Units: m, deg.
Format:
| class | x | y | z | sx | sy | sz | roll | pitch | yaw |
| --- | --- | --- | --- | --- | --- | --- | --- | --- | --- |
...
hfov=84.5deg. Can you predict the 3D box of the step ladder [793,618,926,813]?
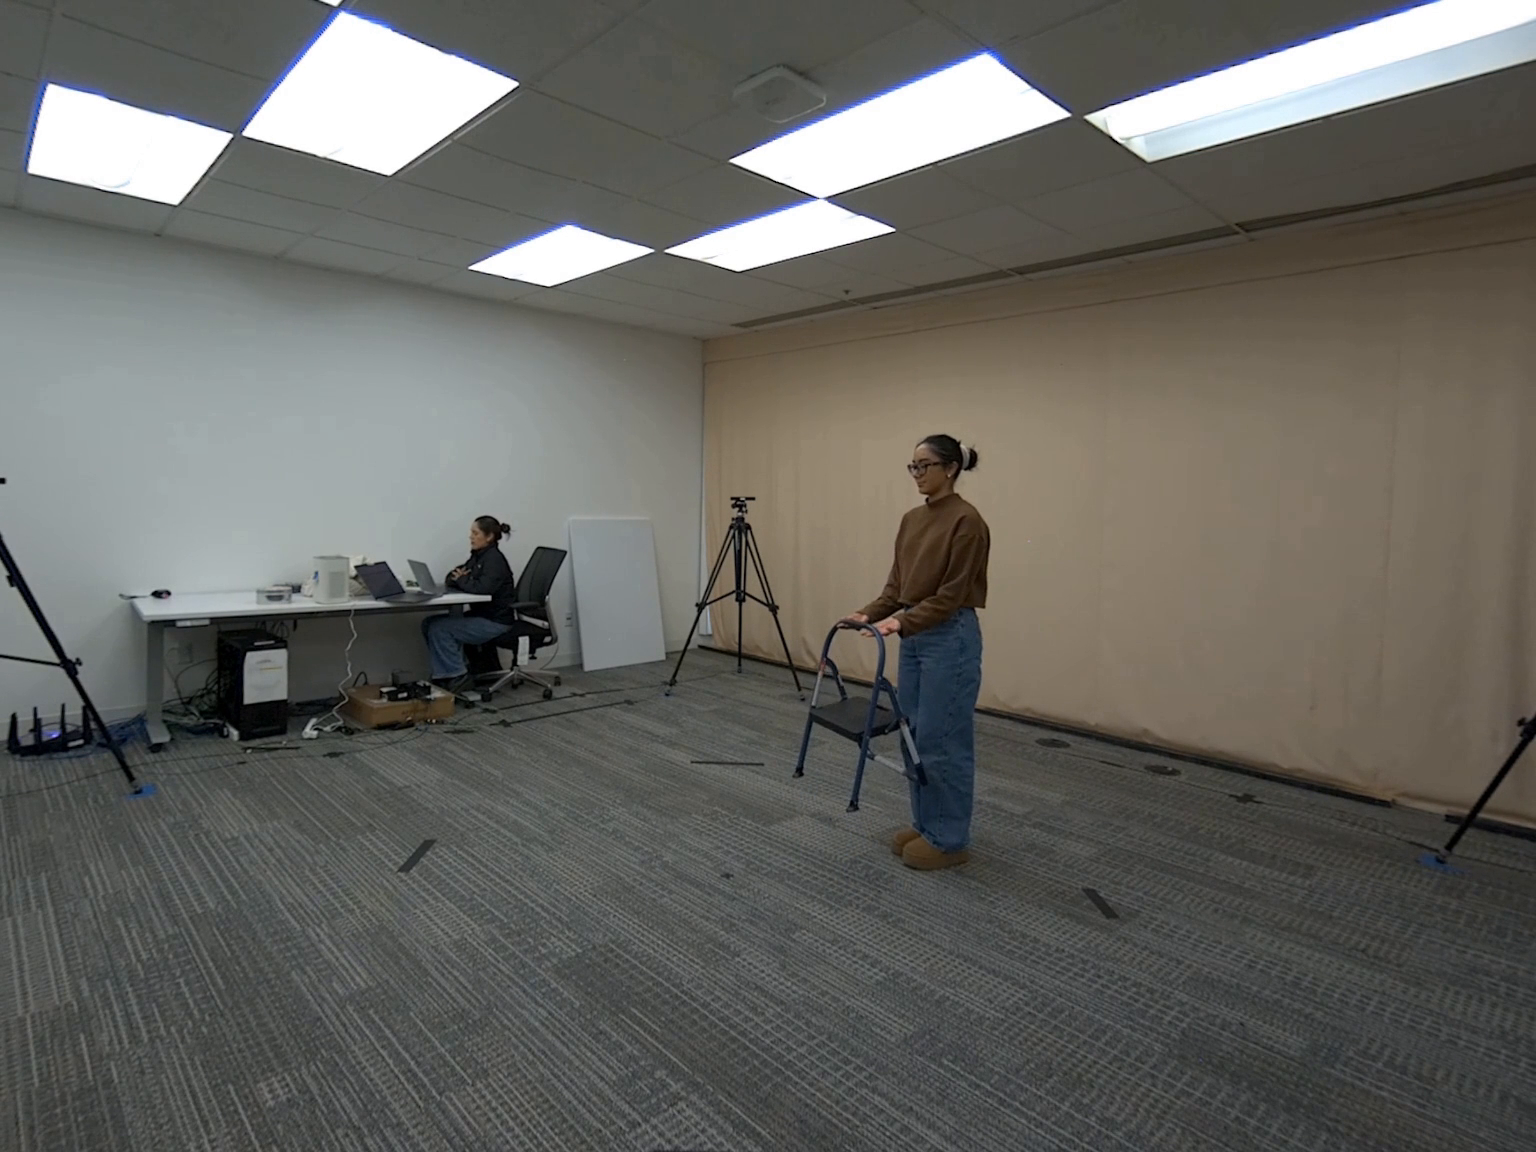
| class | x | y | z | sx | sy | sz | roll | pitch | yaw |
| --- | --- | --- | --- | --- | --- | --- | --- | --- | --- |
| step ladder | 0.305 | 0.484 | 3.168 | 0.344 | 0.602 | 0.440 | -9 | 8 | -26 |
